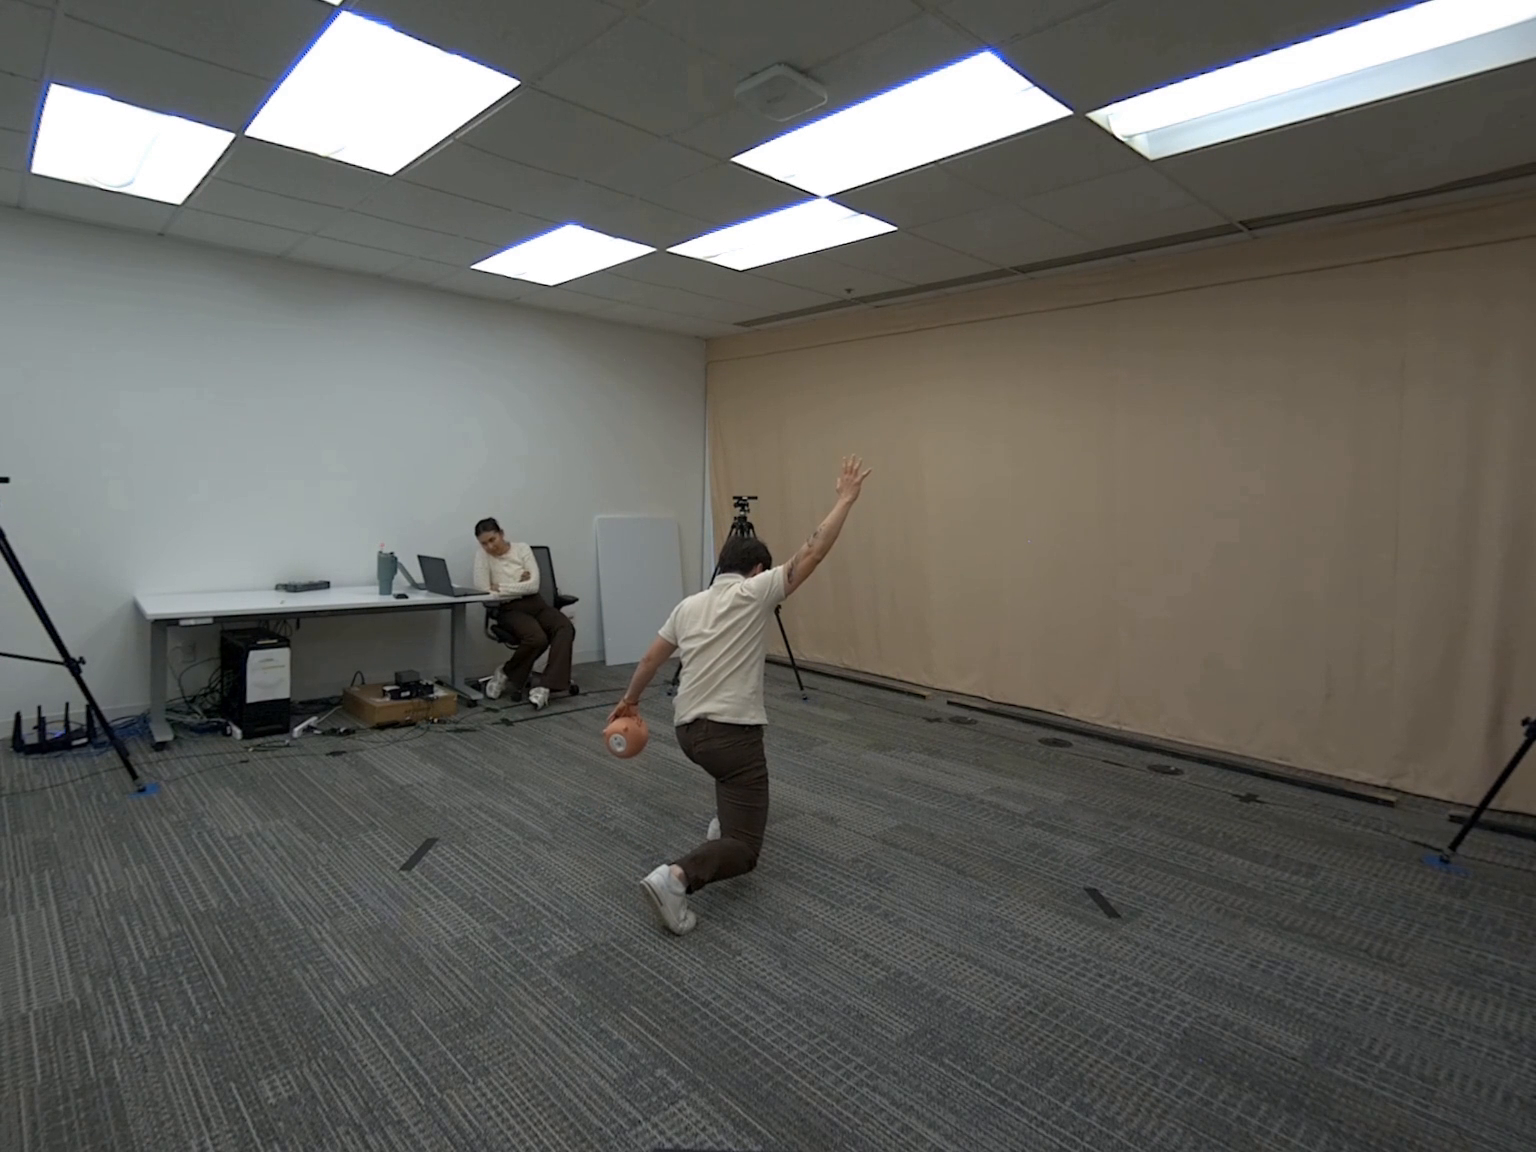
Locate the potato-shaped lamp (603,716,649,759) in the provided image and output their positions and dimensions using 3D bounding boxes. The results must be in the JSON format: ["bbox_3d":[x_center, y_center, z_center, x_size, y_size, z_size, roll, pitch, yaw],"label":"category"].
[{"bbox_3d":[-0.597,0.673,3.560,0.166,0.170,0.197,-15,7,20],"label":"potato-shaped lamp"}]
